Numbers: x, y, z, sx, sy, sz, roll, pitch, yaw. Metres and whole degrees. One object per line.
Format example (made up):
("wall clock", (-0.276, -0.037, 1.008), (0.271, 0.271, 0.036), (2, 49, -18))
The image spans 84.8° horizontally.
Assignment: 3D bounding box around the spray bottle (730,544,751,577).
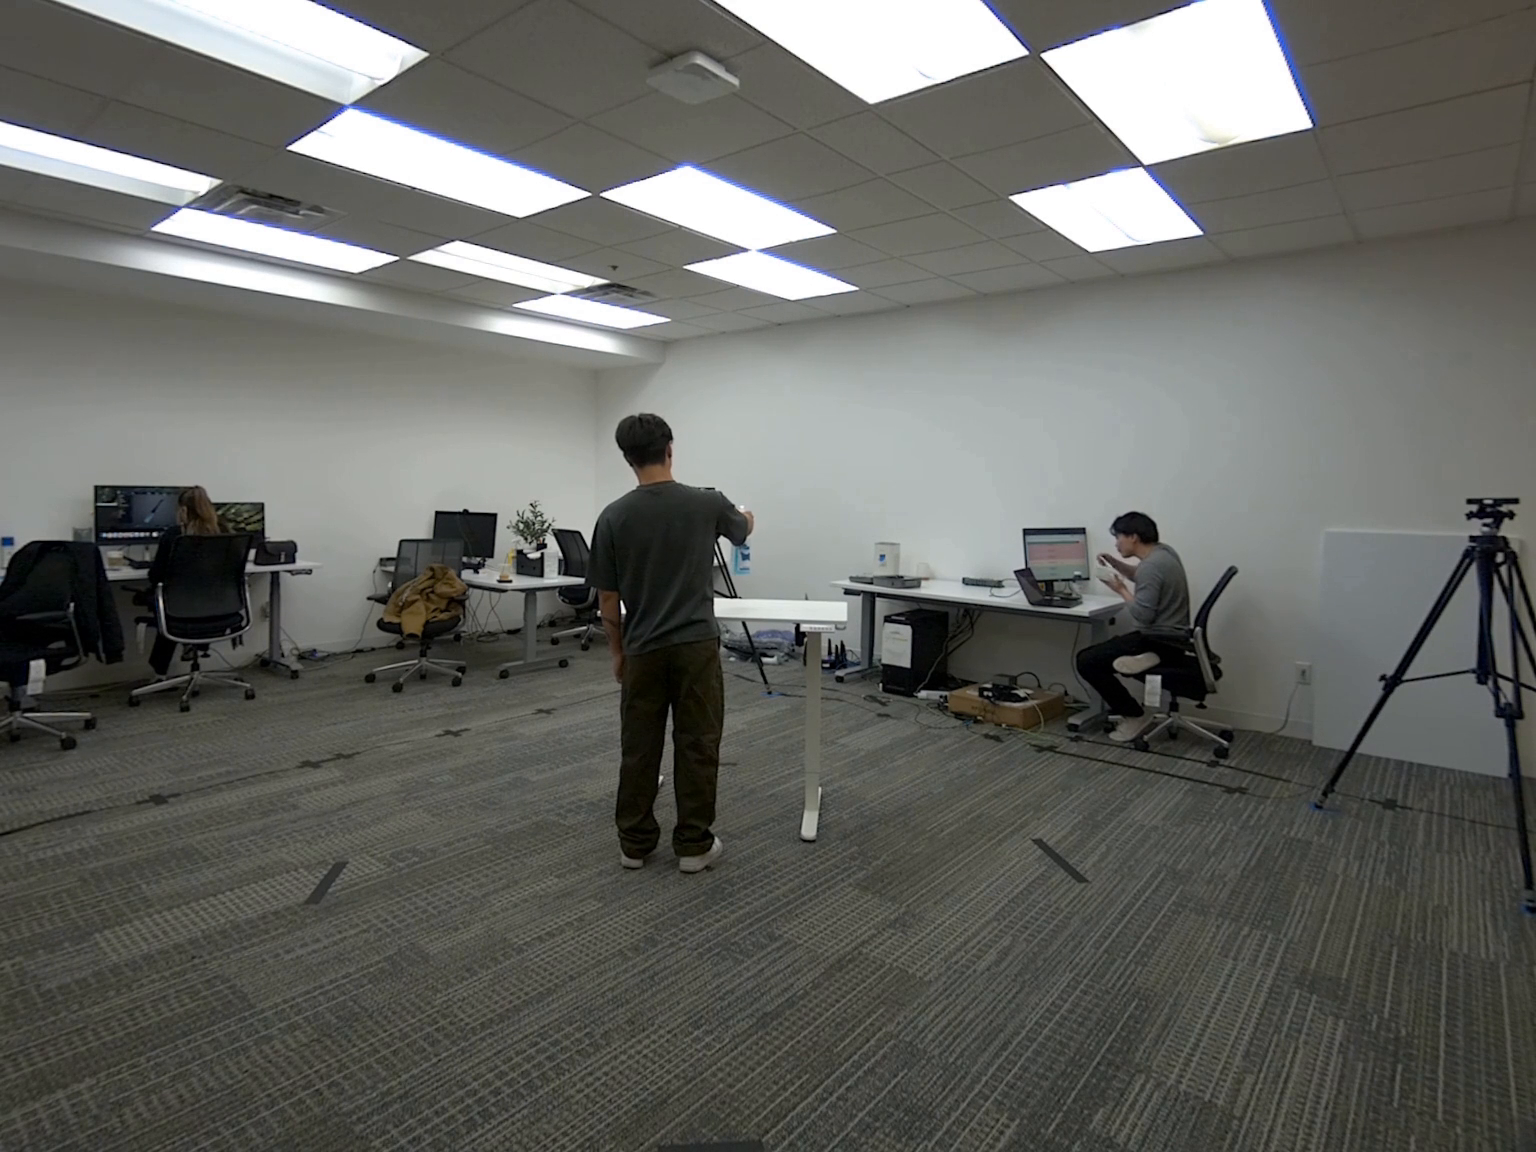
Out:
("spray bottle", (-0.126, -0.159, 3.680), (0.089, 0.297, 0.088), (4, 2, 25))
